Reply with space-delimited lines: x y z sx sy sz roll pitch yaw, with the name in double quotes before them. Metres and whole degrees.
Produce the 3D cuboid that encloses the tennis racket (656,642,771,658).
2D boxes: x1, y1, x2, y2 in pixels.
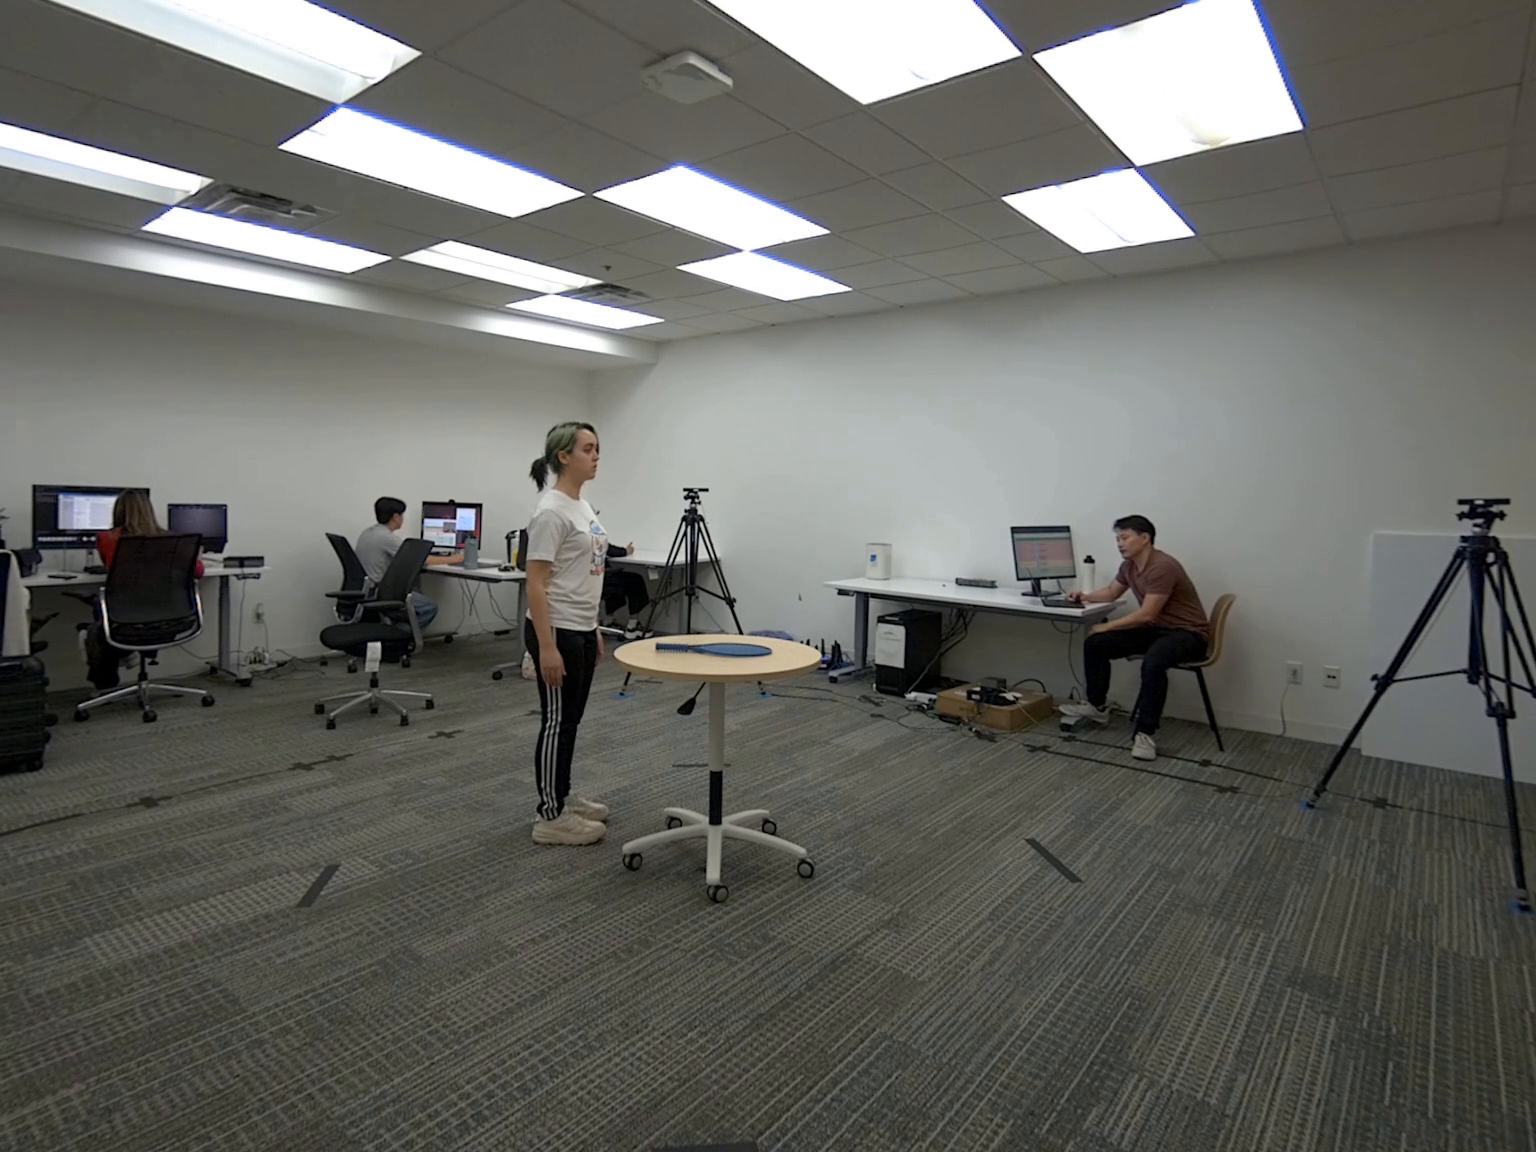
"tennis racket" -0.204 0.274 3.173 0.433 0.031 0.214 2 5 1
